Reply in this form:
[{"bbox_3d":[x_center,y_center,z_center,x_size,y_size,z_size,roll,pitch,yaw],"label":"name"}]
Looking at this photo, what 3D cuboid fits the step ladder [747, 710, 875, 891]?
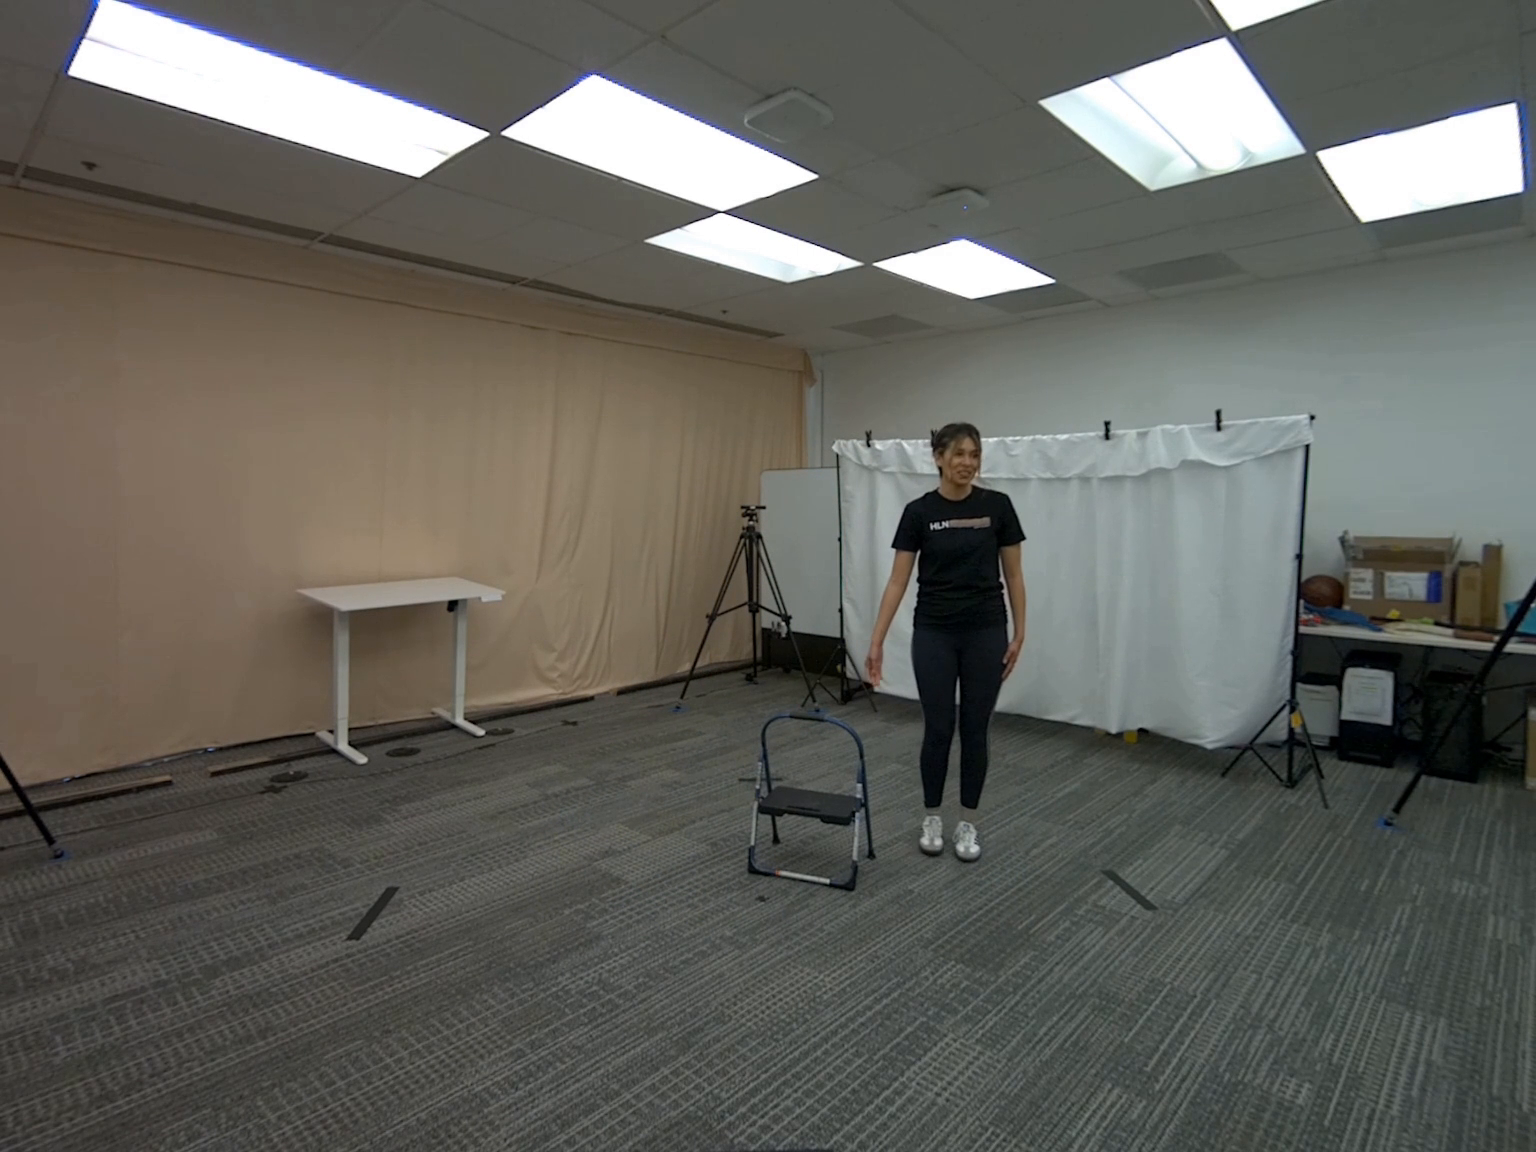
[{"bbox_3d":[0.175,0.815,3.252,0.440,0.605,0.342,1,3,21],"label":"step ladder"}]
